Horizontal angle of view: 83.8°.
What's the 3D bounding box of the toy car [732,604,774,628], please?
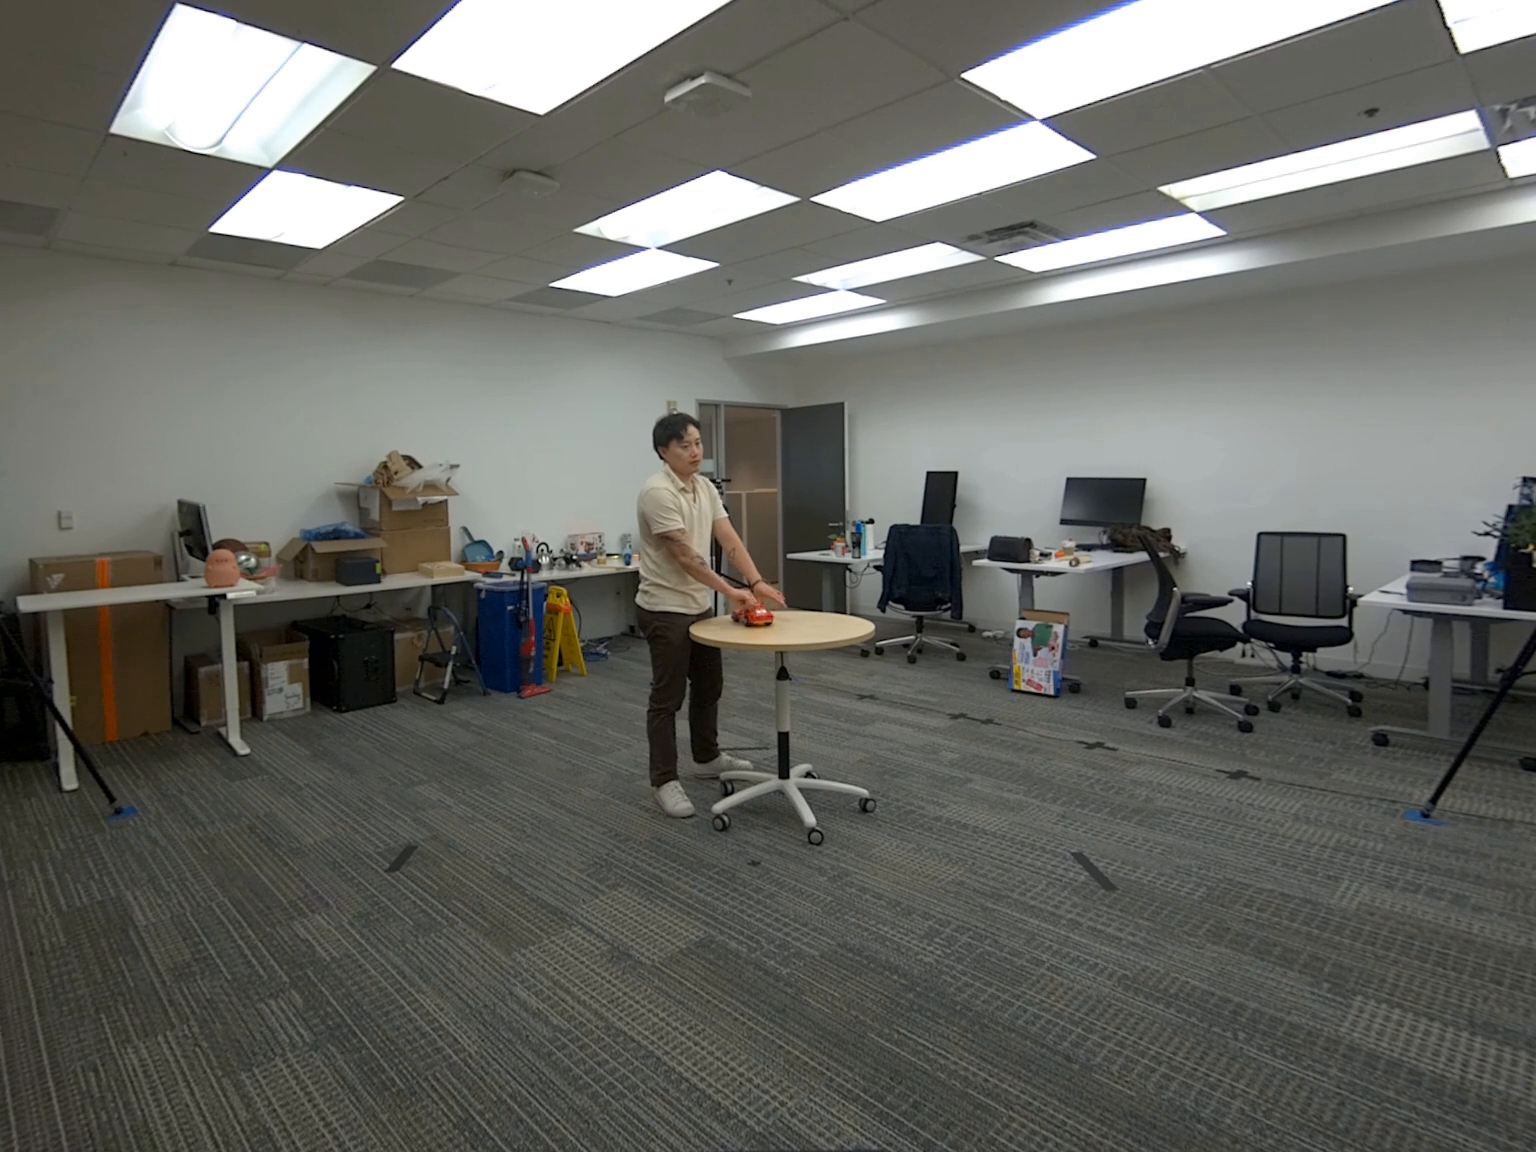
[{"bbox_3d":[-0.058,0.175,3.611,0.128,0.084,0.257,-1,-7,-20],"label":"toy car"}]
